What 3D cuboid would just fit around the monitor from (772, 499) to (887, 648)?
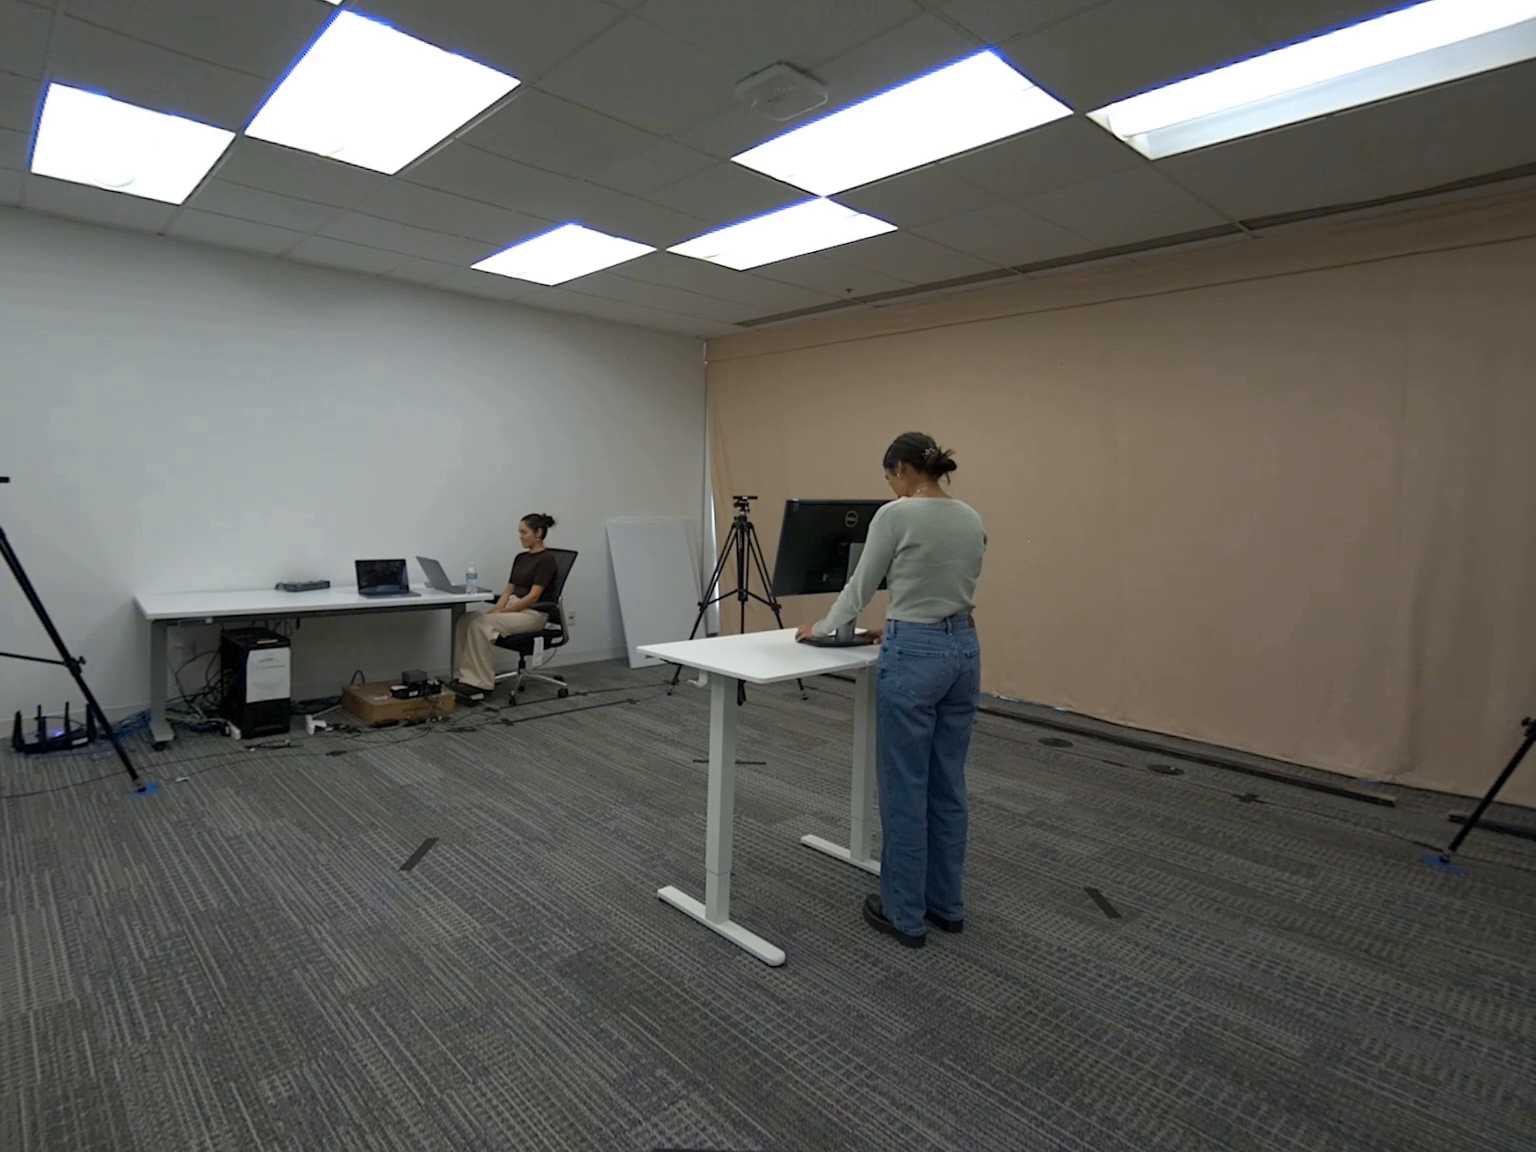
[{"bbox_3d":[0.268,-0.018,2.997,0.519,0.515,0.178,-3,3,-32],"label":"monitor"}]
